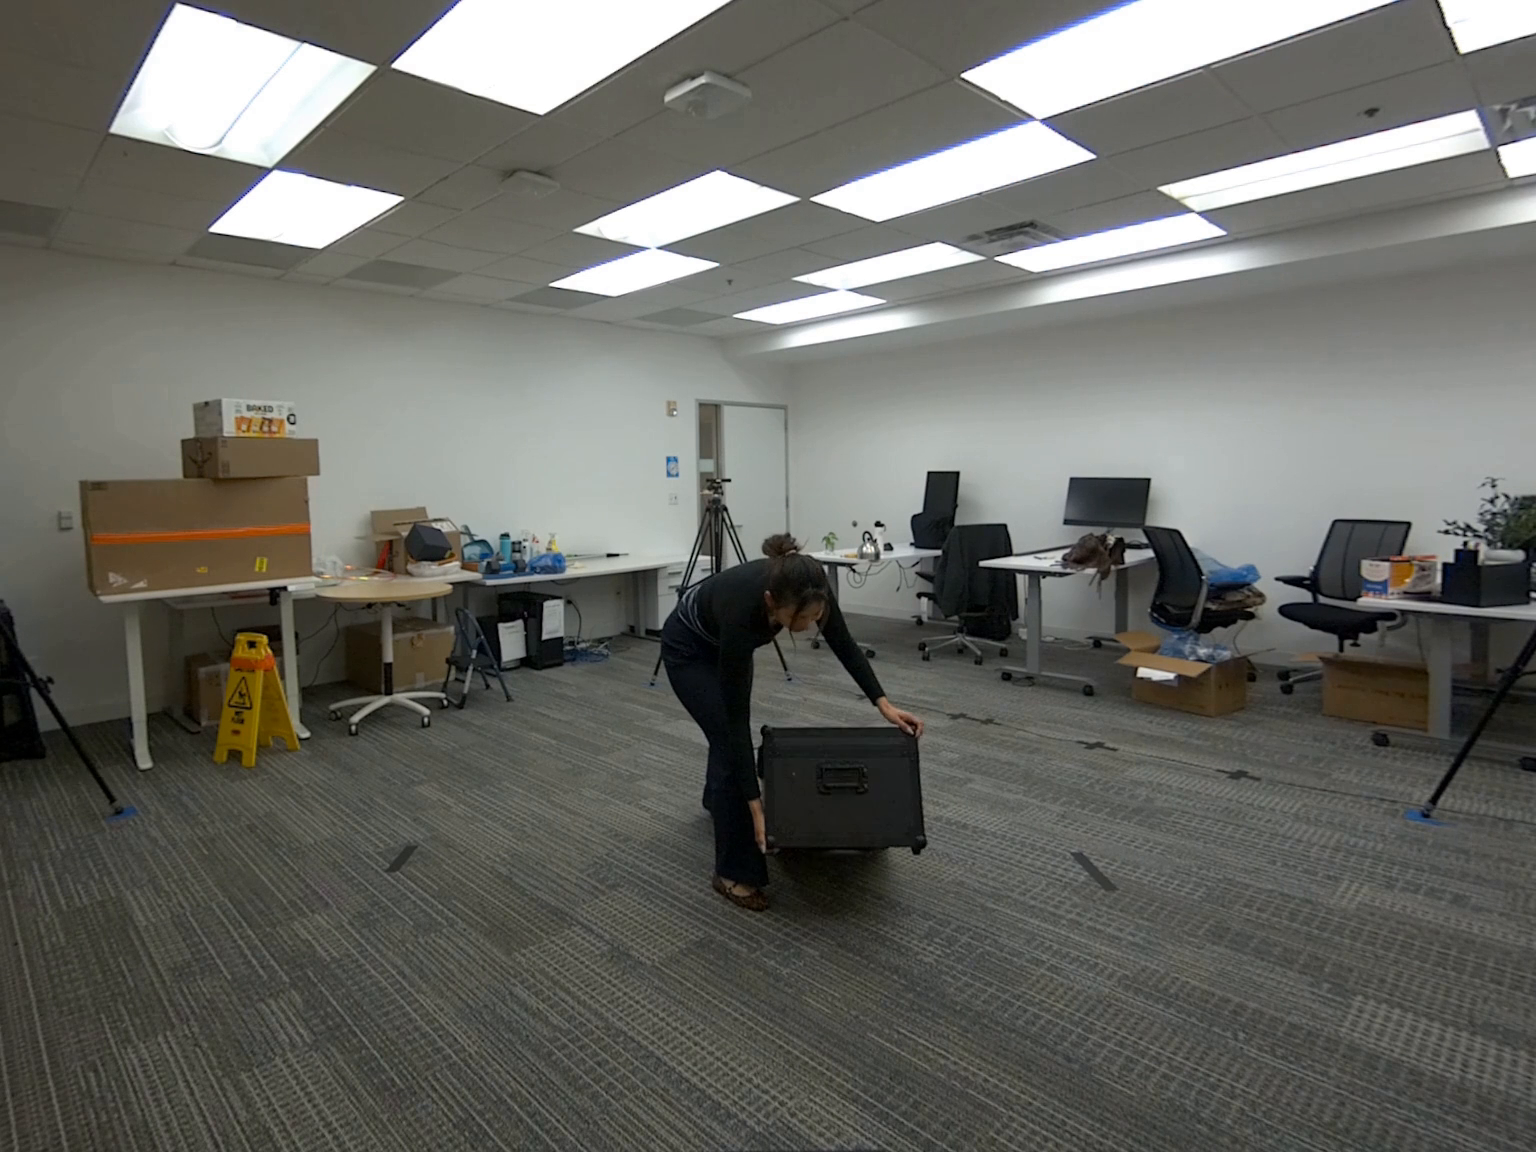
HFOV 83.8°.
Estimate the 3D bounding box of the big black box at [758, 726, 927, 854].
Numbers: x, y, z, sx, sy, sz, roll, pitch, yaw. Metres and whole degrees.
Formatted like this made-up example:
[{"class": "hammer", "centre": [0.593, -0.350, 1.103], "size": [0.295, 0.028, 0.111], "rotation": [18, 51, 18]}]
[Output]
[{"class": "big black box", "centre": [0.222, 0.755, 3.003], "size": [0.521, 0.401, 0.850], "rotation": [0, -13, -1]}]
